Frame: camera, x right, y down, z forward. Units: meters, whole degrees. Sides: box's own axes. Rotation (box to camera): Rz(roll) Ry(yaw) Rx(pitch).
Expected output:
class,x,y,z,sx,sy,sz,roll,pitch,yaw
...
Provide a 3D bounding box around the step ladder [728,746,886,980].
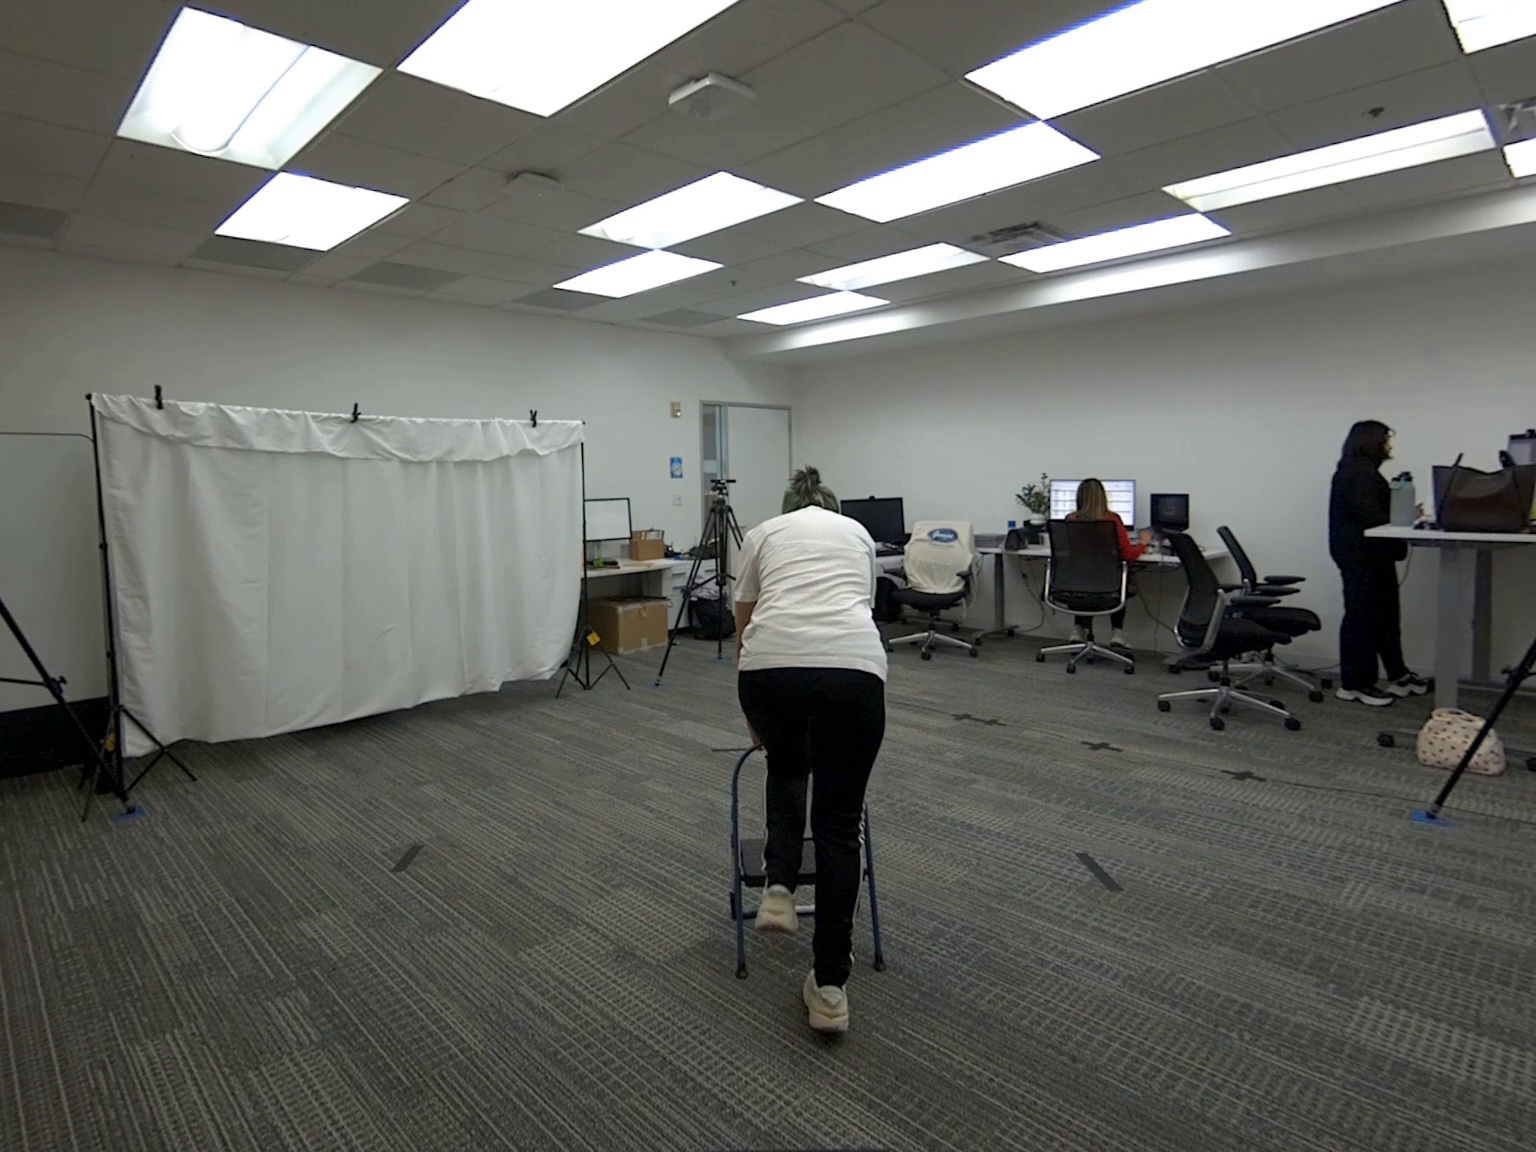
class,x,y,z,sx,sy,sz,roll,pitch,yaw
step ladder,0.105,0.811,2.564,0.429,0.604,0.352,-1,4,-5
